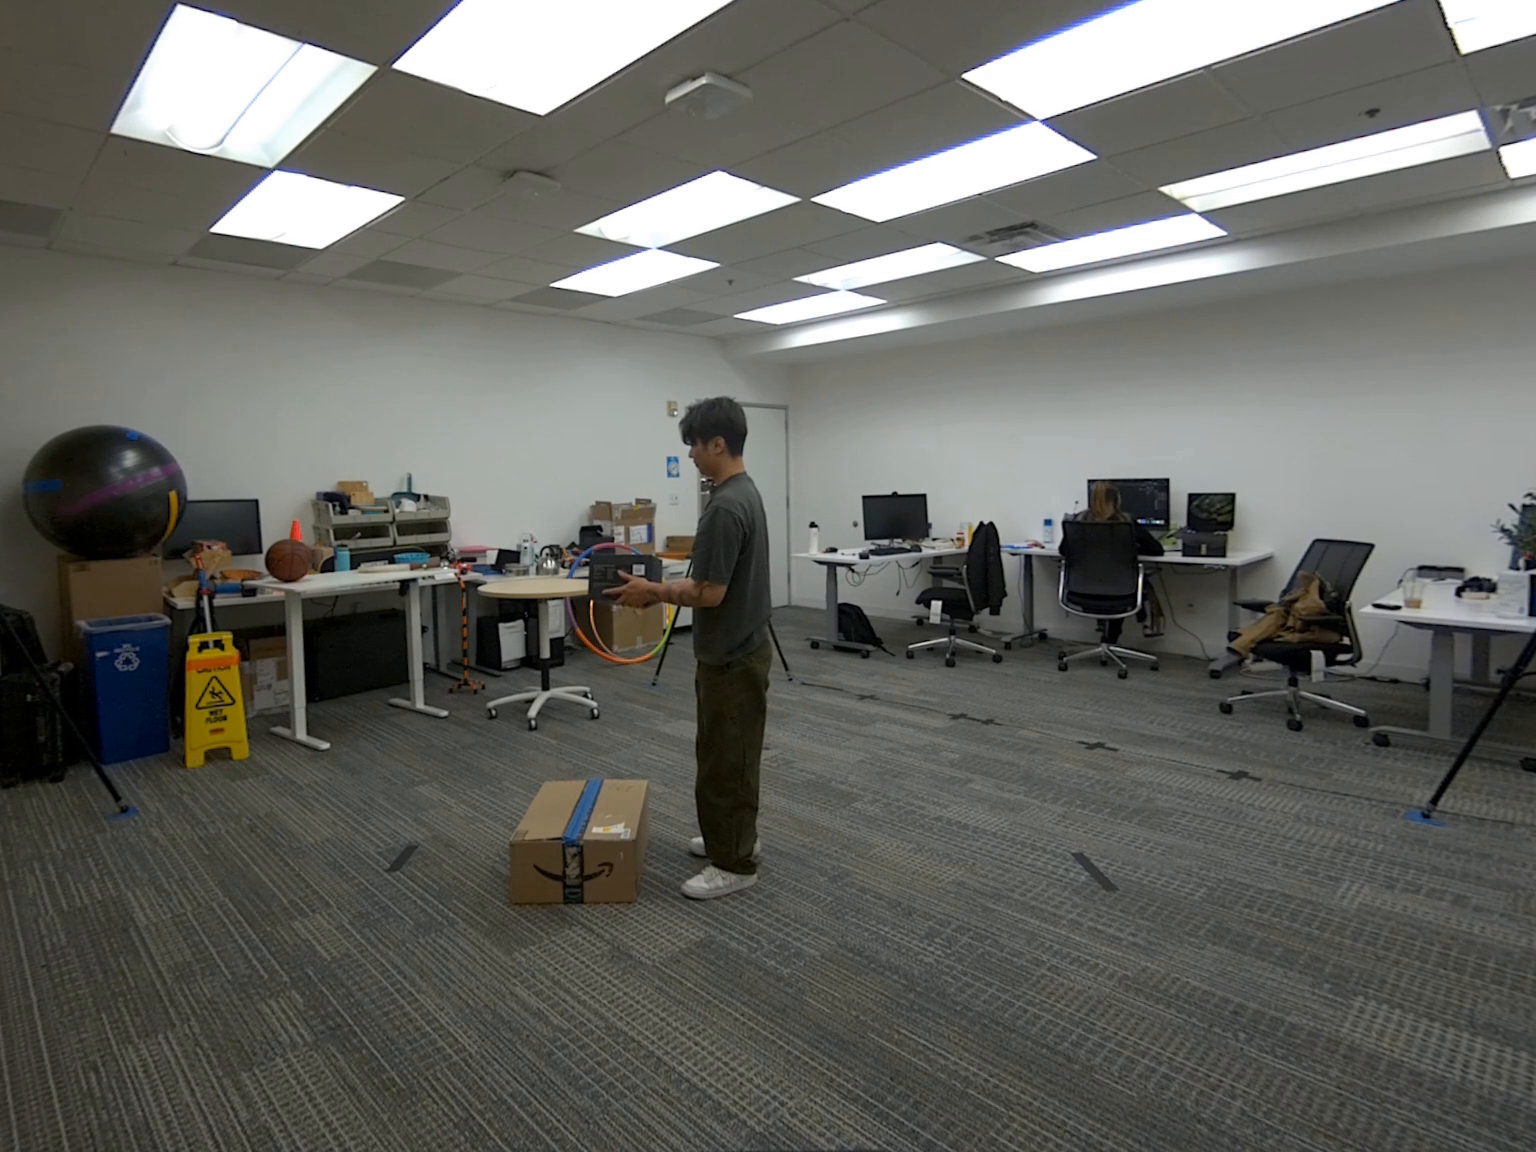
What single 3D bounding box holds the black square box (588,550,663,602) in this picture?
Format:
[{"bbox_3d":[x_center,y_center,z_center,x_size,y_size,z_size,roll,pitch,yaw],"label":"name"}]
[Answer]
[{"bbox_3d":[-0.496,0.006,2.979,0.218,0.156,0.226,1,-3,4],"label":"black square box"}]
